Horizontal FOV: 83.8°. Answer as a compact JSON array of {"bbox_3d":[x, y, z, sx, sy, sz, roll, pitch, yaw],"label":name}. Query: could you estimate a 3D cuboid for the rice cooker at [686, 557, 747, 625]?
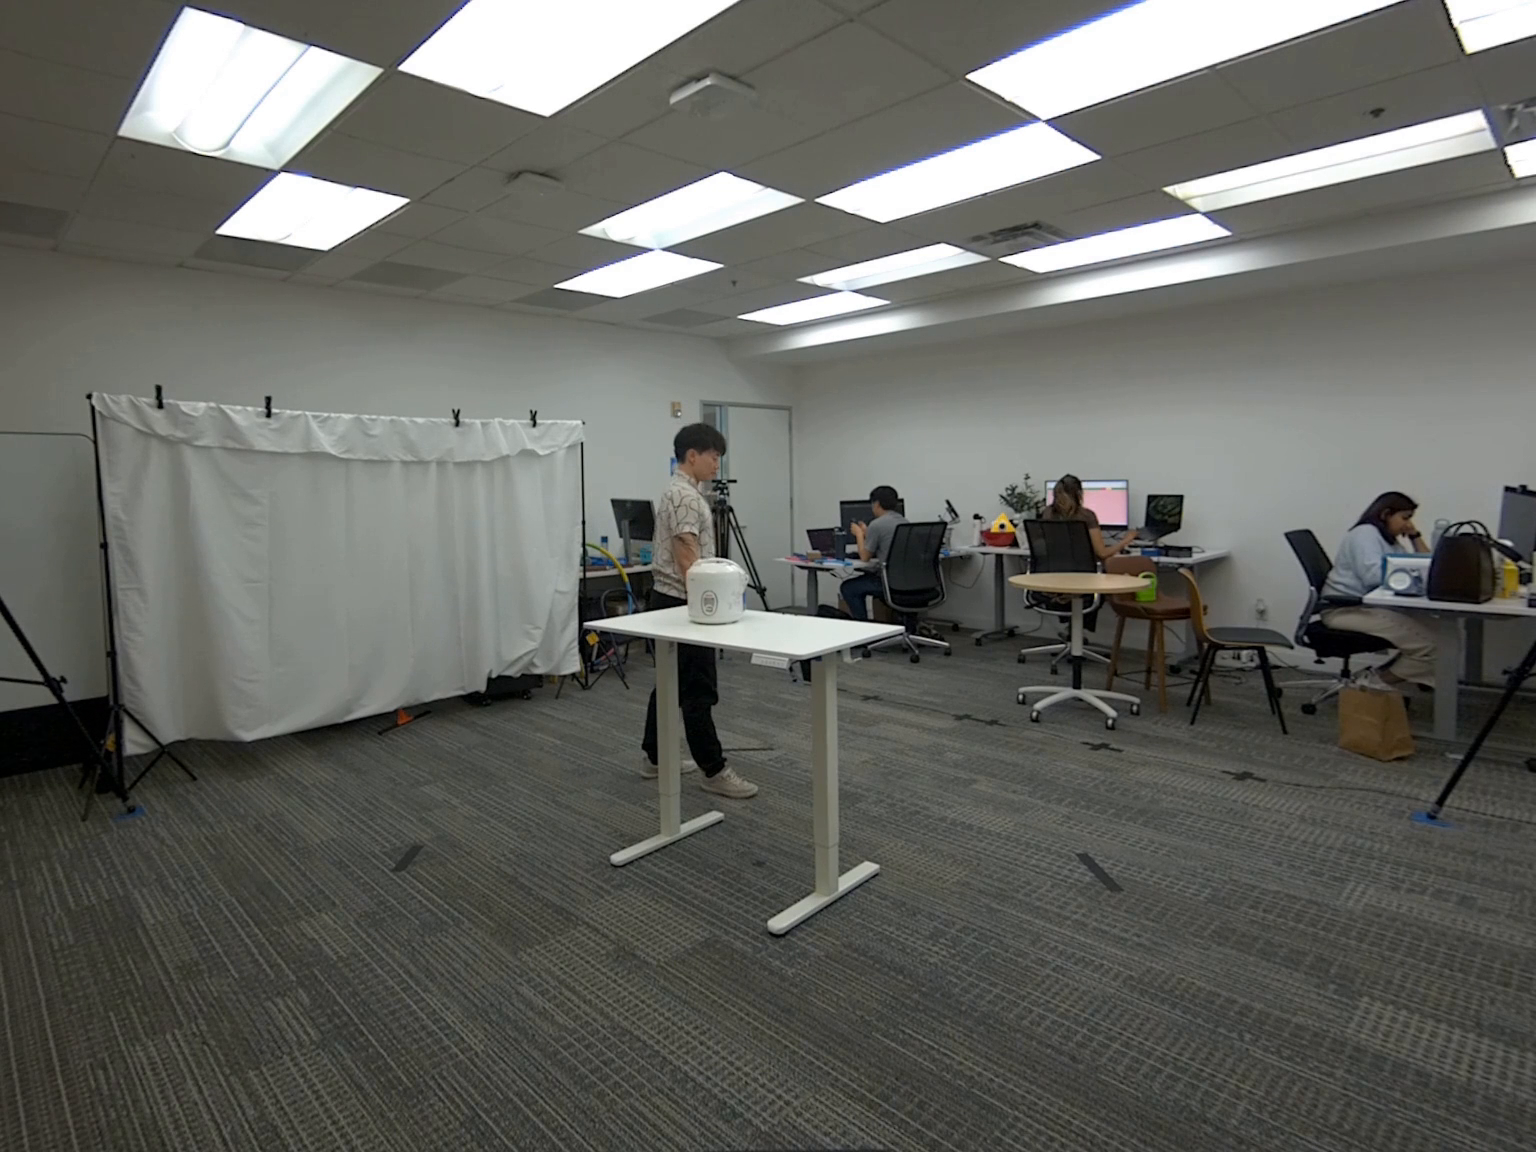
[{"bbox_3d":[-0.189,0.048,3.122,0.223,0.232,0.215,-1,3,11],"label":"rice cooker"}]
